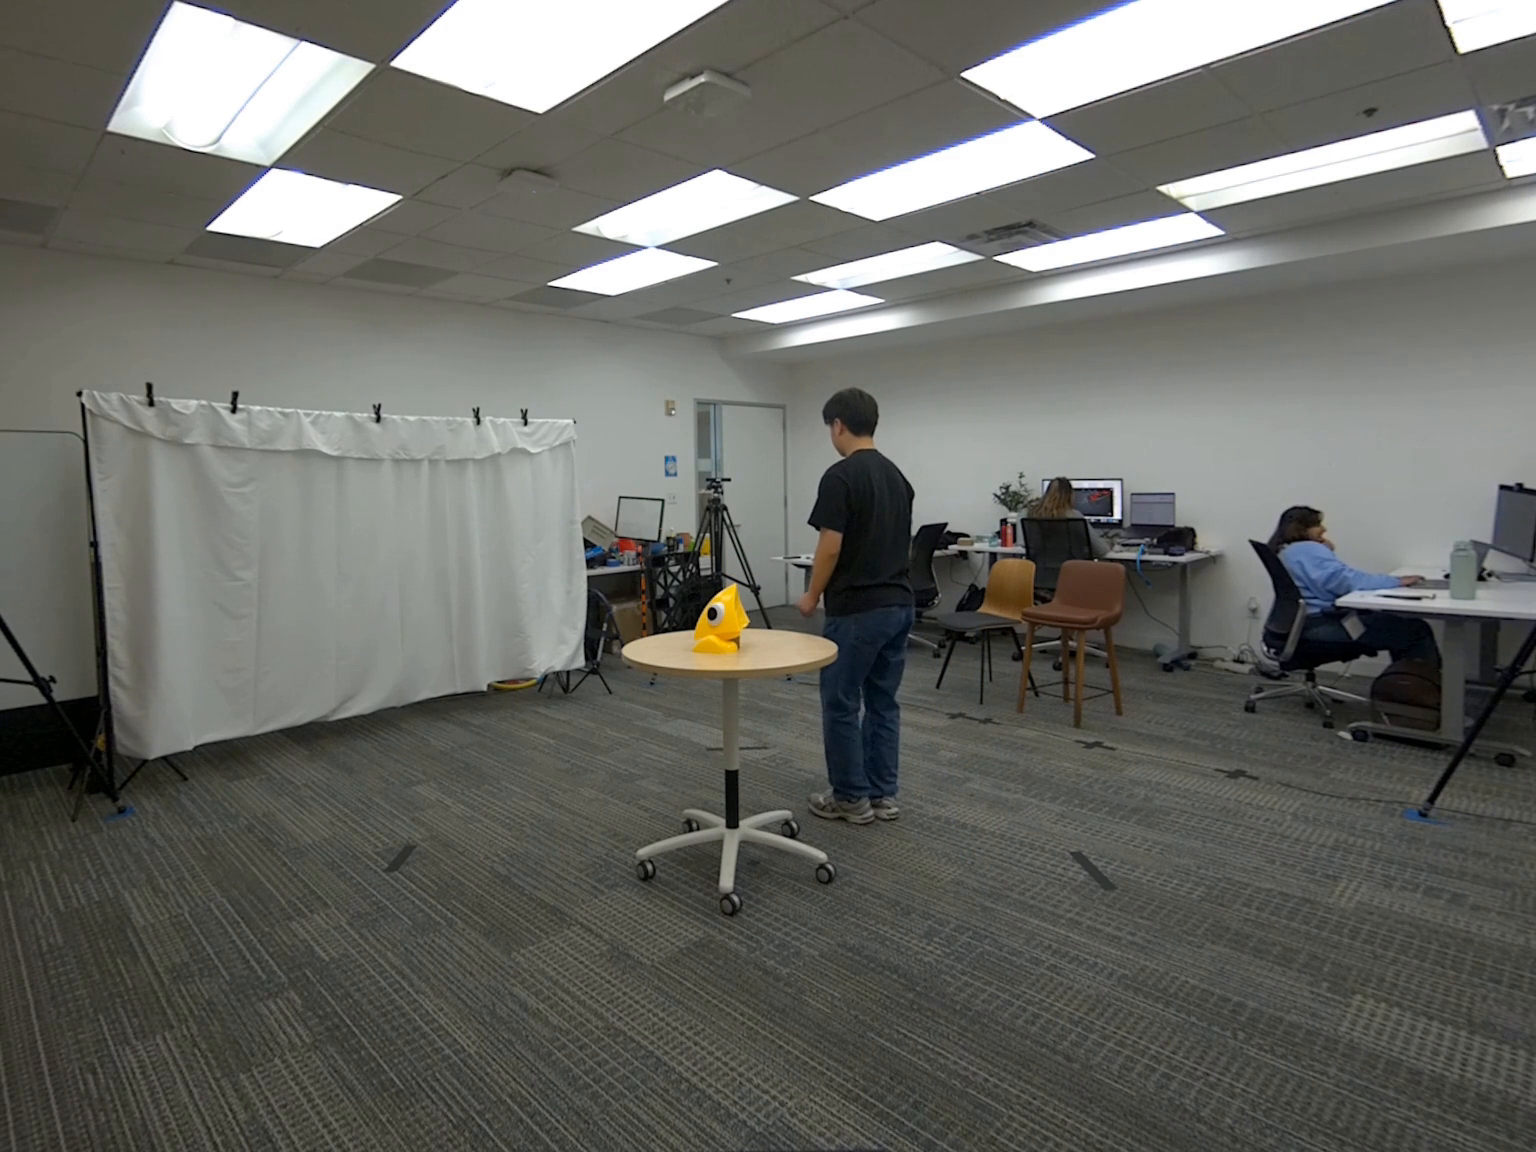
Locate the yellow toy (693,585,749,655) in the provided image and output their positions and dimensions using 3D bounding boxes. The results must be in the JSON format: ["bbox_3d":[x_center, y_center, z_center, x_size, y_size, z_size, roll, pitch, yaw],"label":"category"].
[{"bbox_3d":[-0.169,0.141,3.028,0.195,0.230,0.203,-1,4,10],"label":"yellow toy"}]
